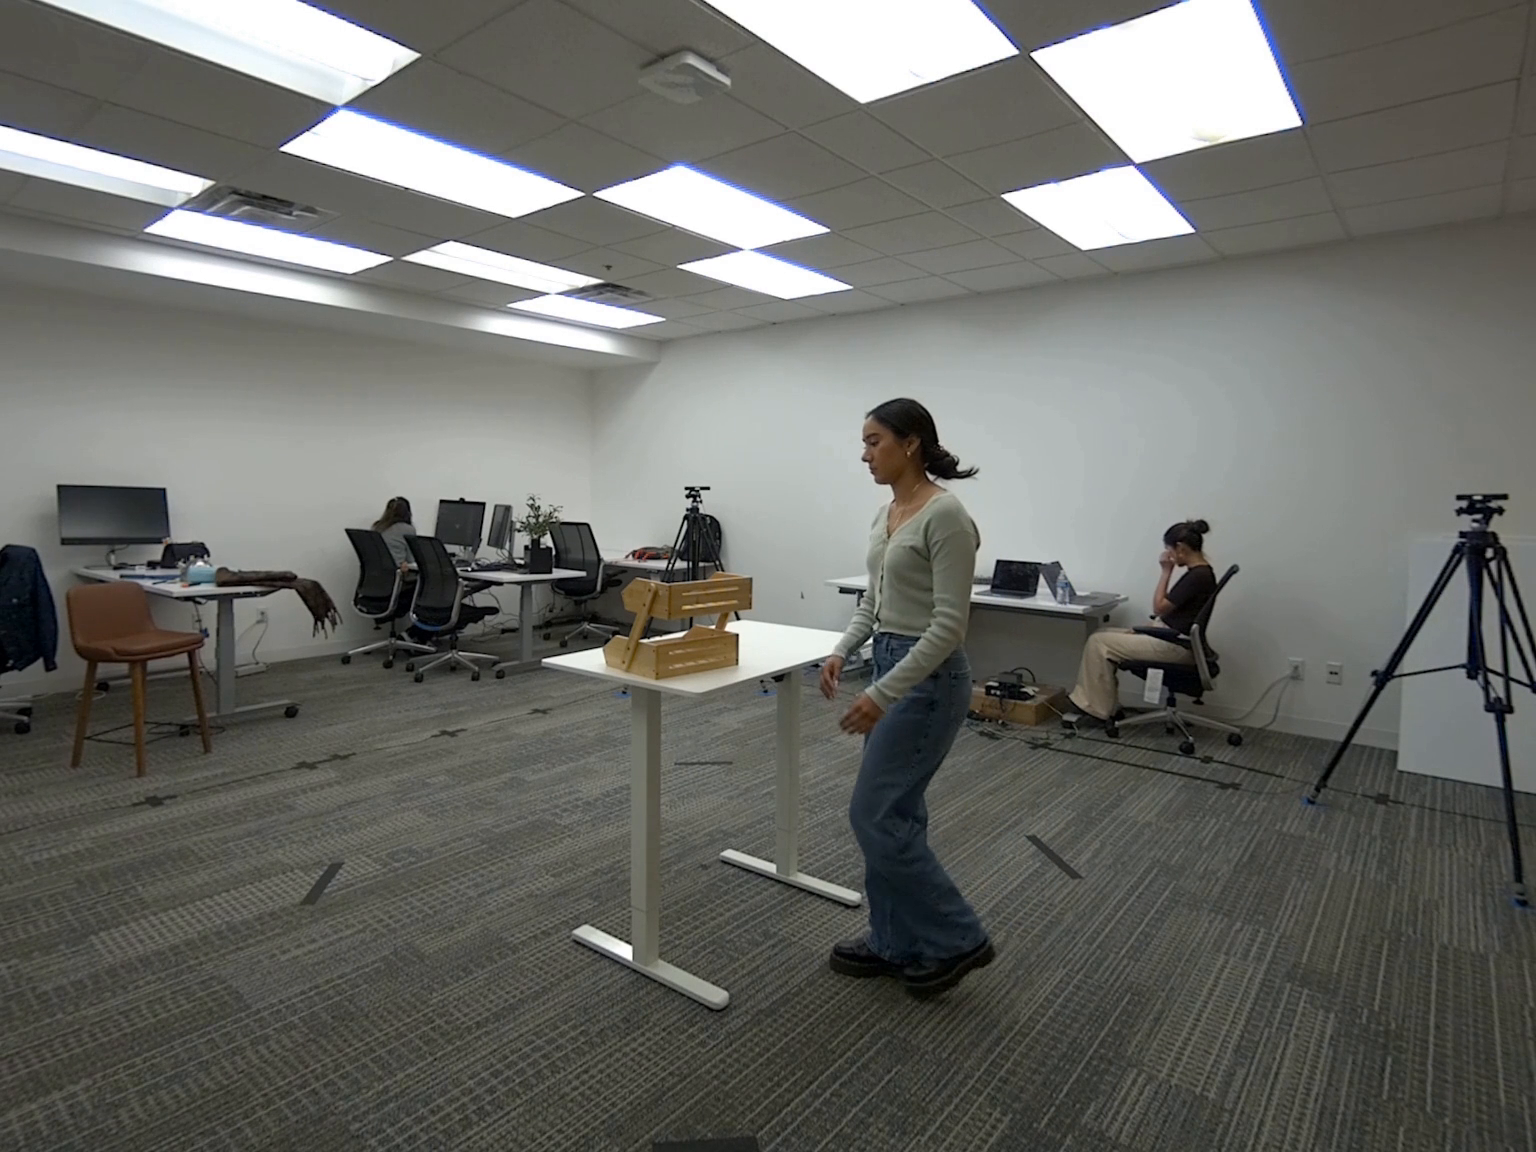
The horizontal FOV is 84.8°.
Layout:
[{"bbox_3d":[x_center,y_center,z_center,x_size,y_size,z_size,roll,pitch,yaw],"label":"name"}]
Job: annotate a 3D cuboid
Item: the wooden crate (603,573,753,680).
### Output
[{"bbox_3d":[-0.264,0.121,2.408,0.315,0.272,0.312,-4,7,-43],"label":"wooden crate"}]
